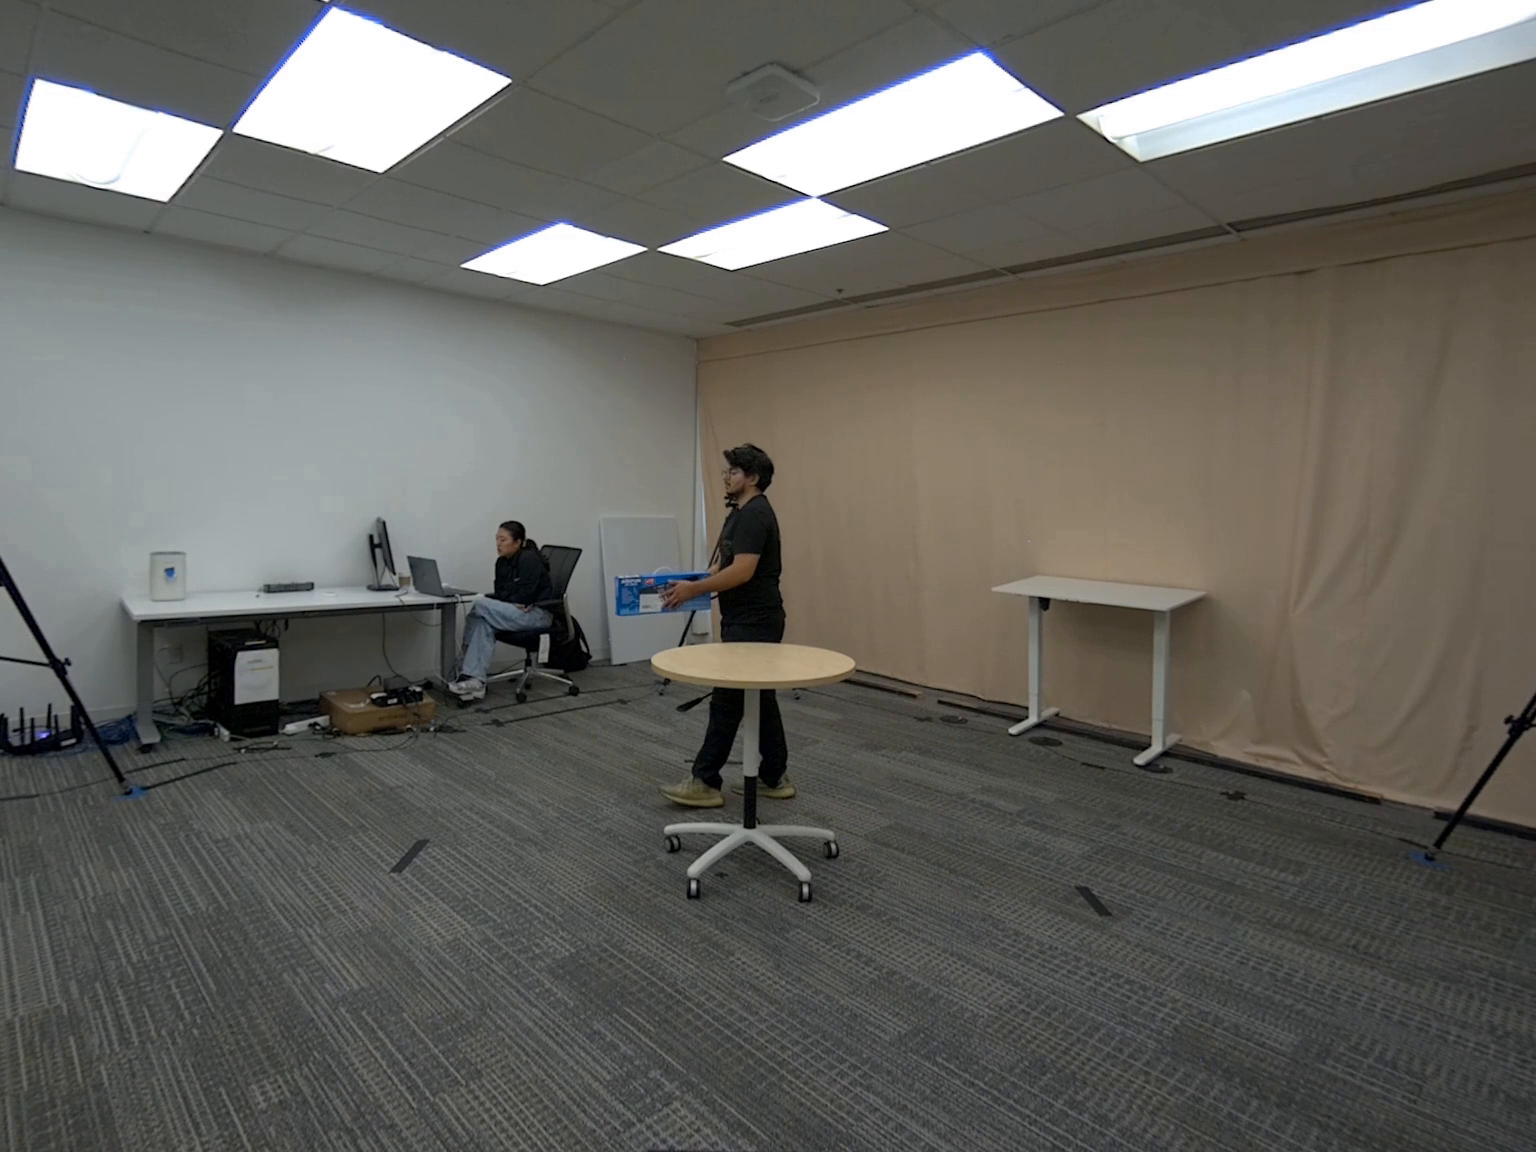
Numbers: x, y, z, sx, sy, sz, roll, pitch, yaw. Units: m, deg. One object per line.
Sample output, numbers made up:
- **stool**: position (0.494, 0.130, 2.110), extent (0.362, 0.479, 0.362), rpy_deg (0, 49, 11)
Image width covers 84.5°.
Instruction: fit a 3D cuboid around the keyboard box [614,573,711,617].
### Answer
- **keyboard box**: position (-0.475, 0.077, 3.796), extent (0.430, 0.175, 0.060), rpy_deg (-3, 6, -20)
